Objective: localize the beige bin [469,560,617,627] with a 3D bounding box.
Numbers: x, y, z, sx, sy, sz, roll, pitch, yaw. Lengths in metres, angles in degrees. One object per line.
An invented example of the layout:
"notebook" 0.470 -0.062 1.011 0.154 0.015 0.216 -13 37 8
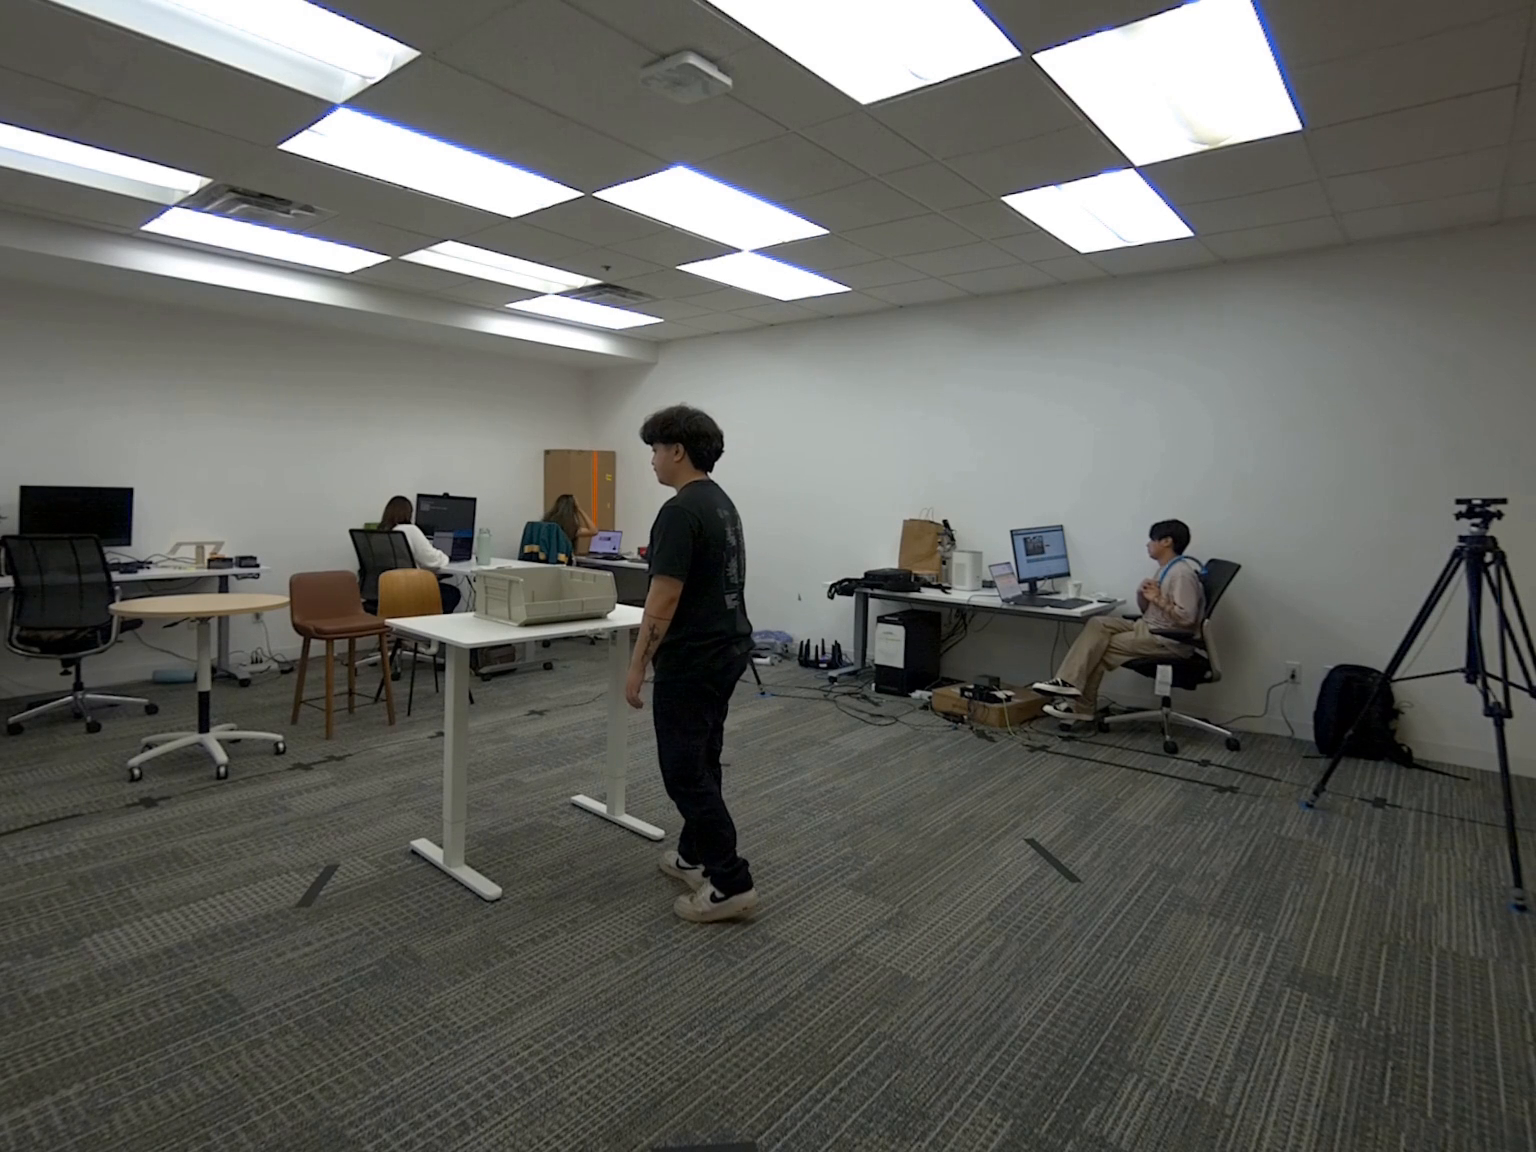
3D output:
"beige bin" -0.875 0.074 3.286 0.390 0.188 0.410 5 7 43
